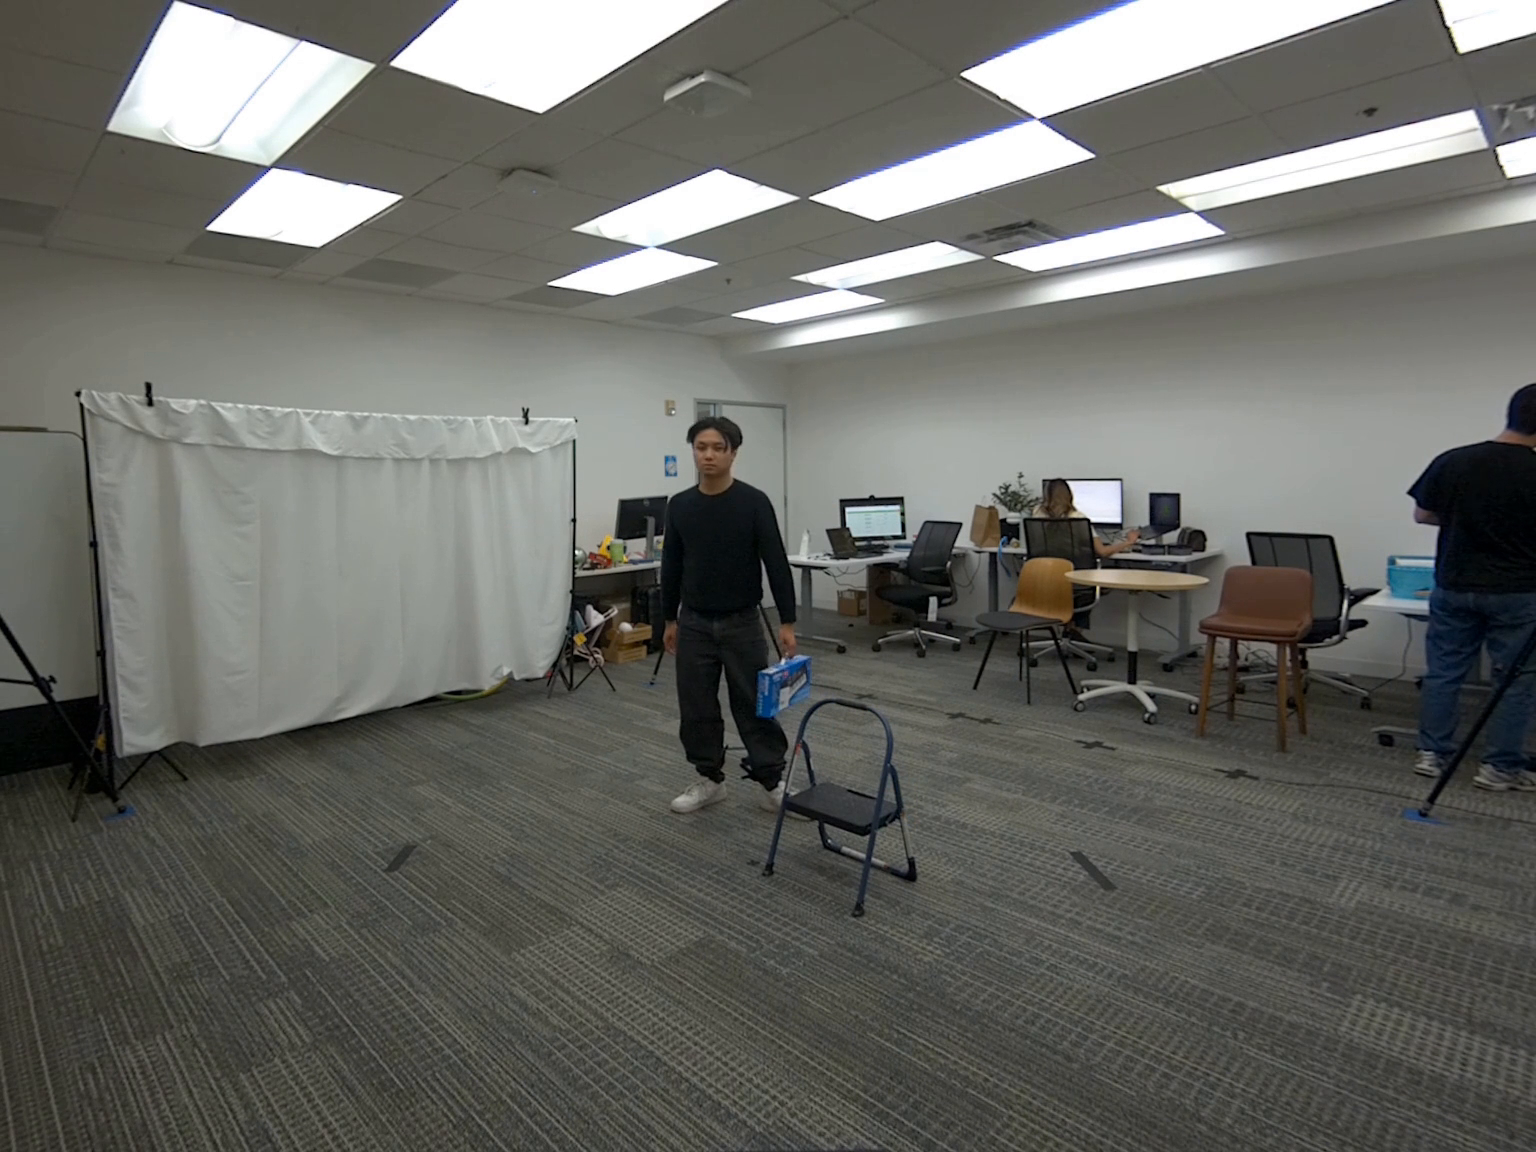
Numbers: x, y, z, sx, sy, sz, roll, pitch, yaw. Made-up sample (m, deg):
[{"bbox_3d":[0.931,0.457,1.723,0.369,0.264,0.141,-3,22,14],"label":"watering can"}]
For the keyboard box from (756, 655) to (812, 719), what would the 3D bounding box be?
[{"bbox_3d":[0.068,0.439,3.459,0.060,0.175,0.428,3,5,23],"label":"keyboard box"}]
